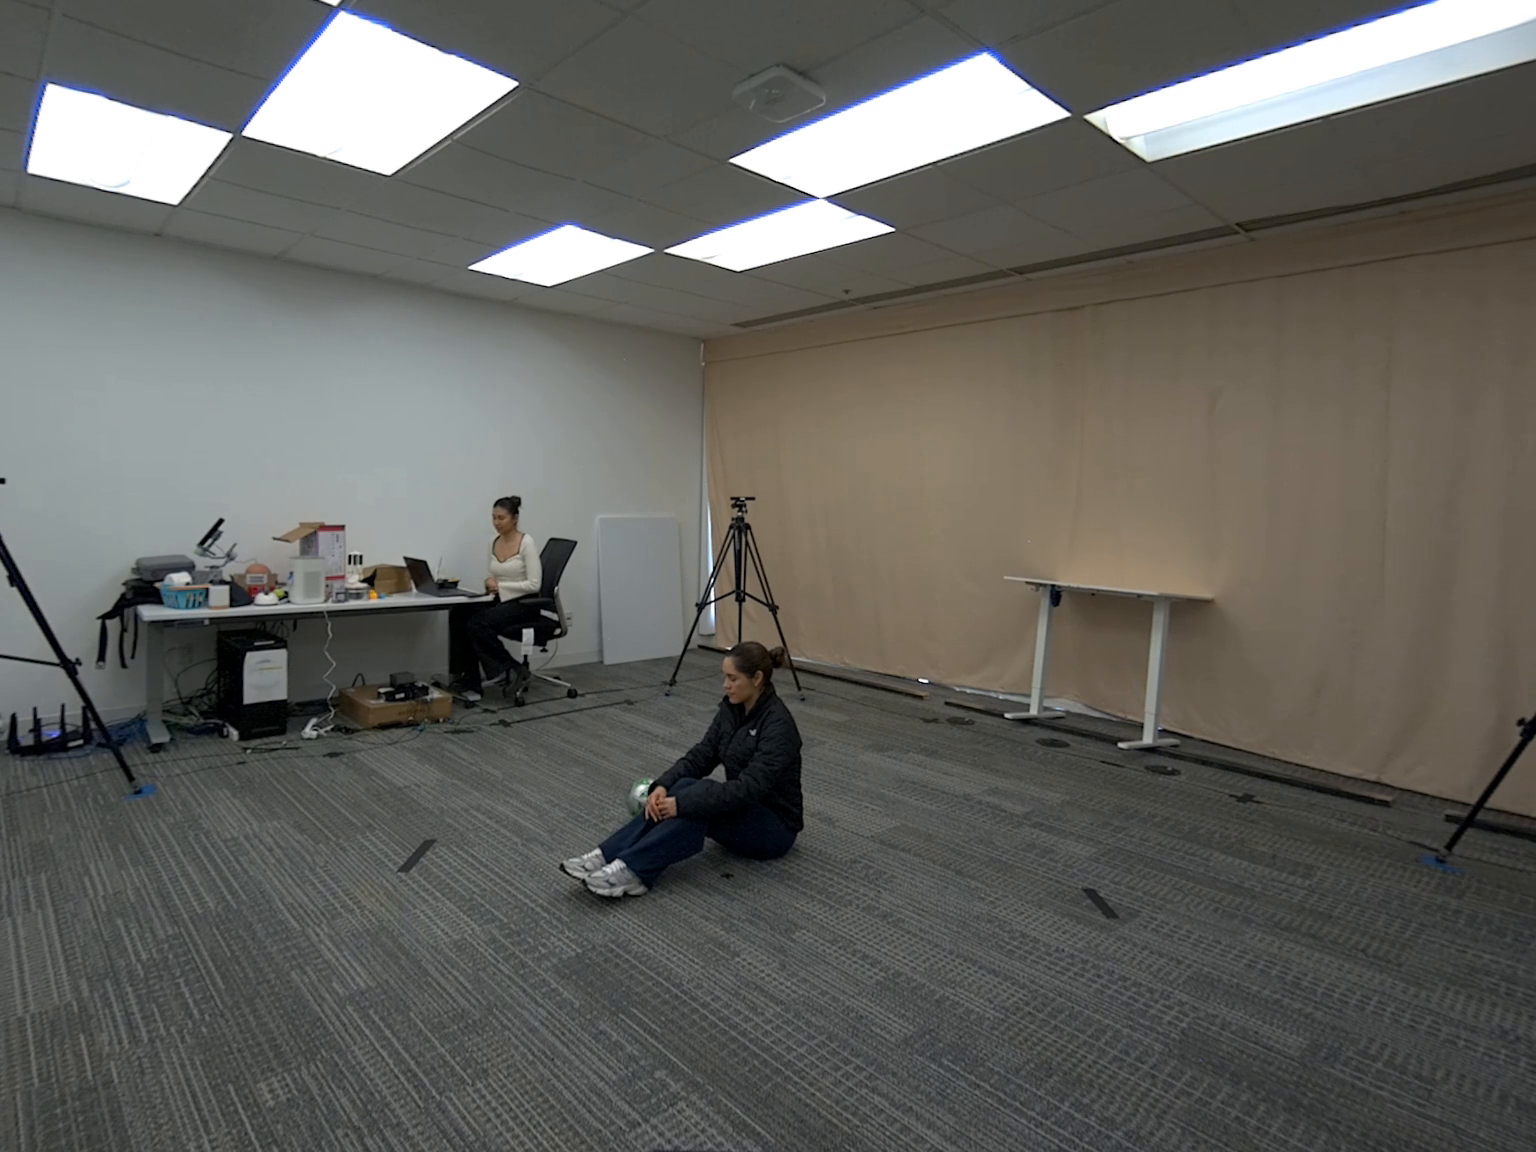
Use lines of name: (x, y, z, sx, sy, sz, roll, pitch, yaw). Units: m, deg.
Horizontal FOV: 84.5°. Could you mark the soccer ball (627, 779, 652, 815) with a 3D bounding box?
soccer ball: (-0.513, 0.957, 3.603, 0.187, 0.186, 0.188, 0, 7, -1)
